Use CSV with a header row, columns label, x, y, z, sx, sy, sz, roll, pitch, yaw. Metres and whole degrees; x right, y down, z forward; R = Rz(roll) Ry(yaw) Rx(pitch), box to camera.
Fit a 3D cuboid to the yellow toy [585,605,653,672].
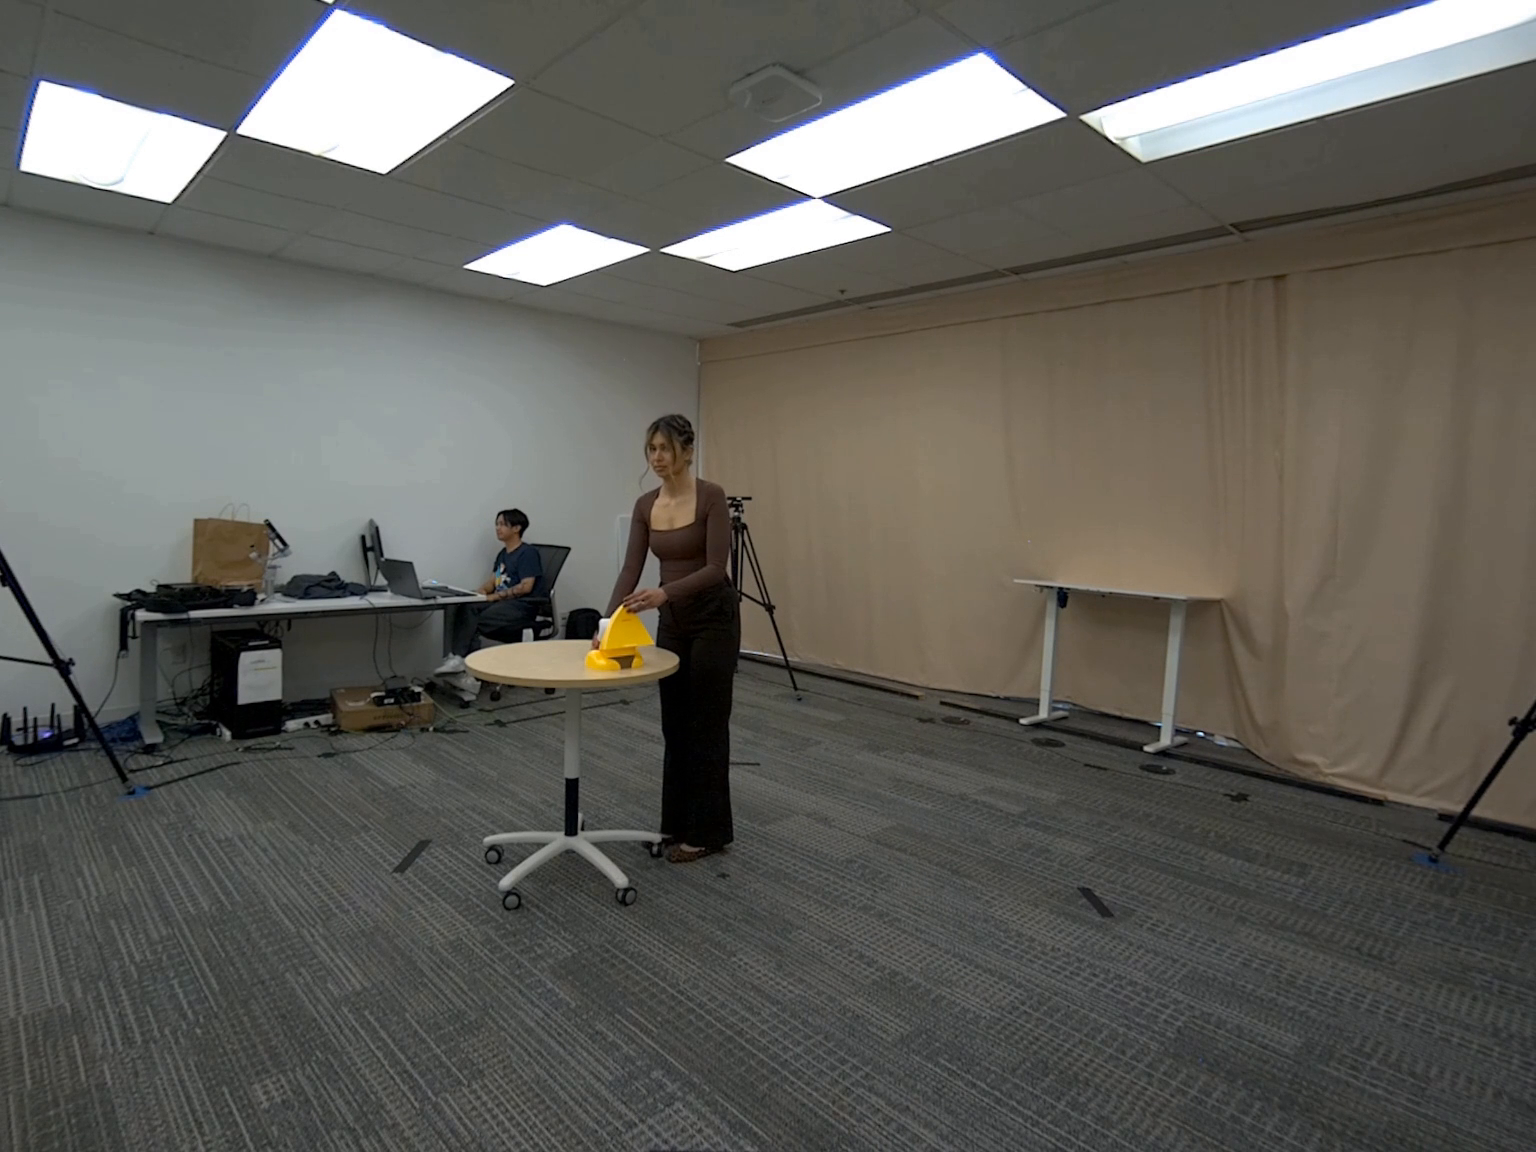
label,x,y,z,sx,sy,sz,roll,pitch,yaw
yellow toy,-0.537,0.200,2.945,0.200,0.230,0.198,-2,6,-42
